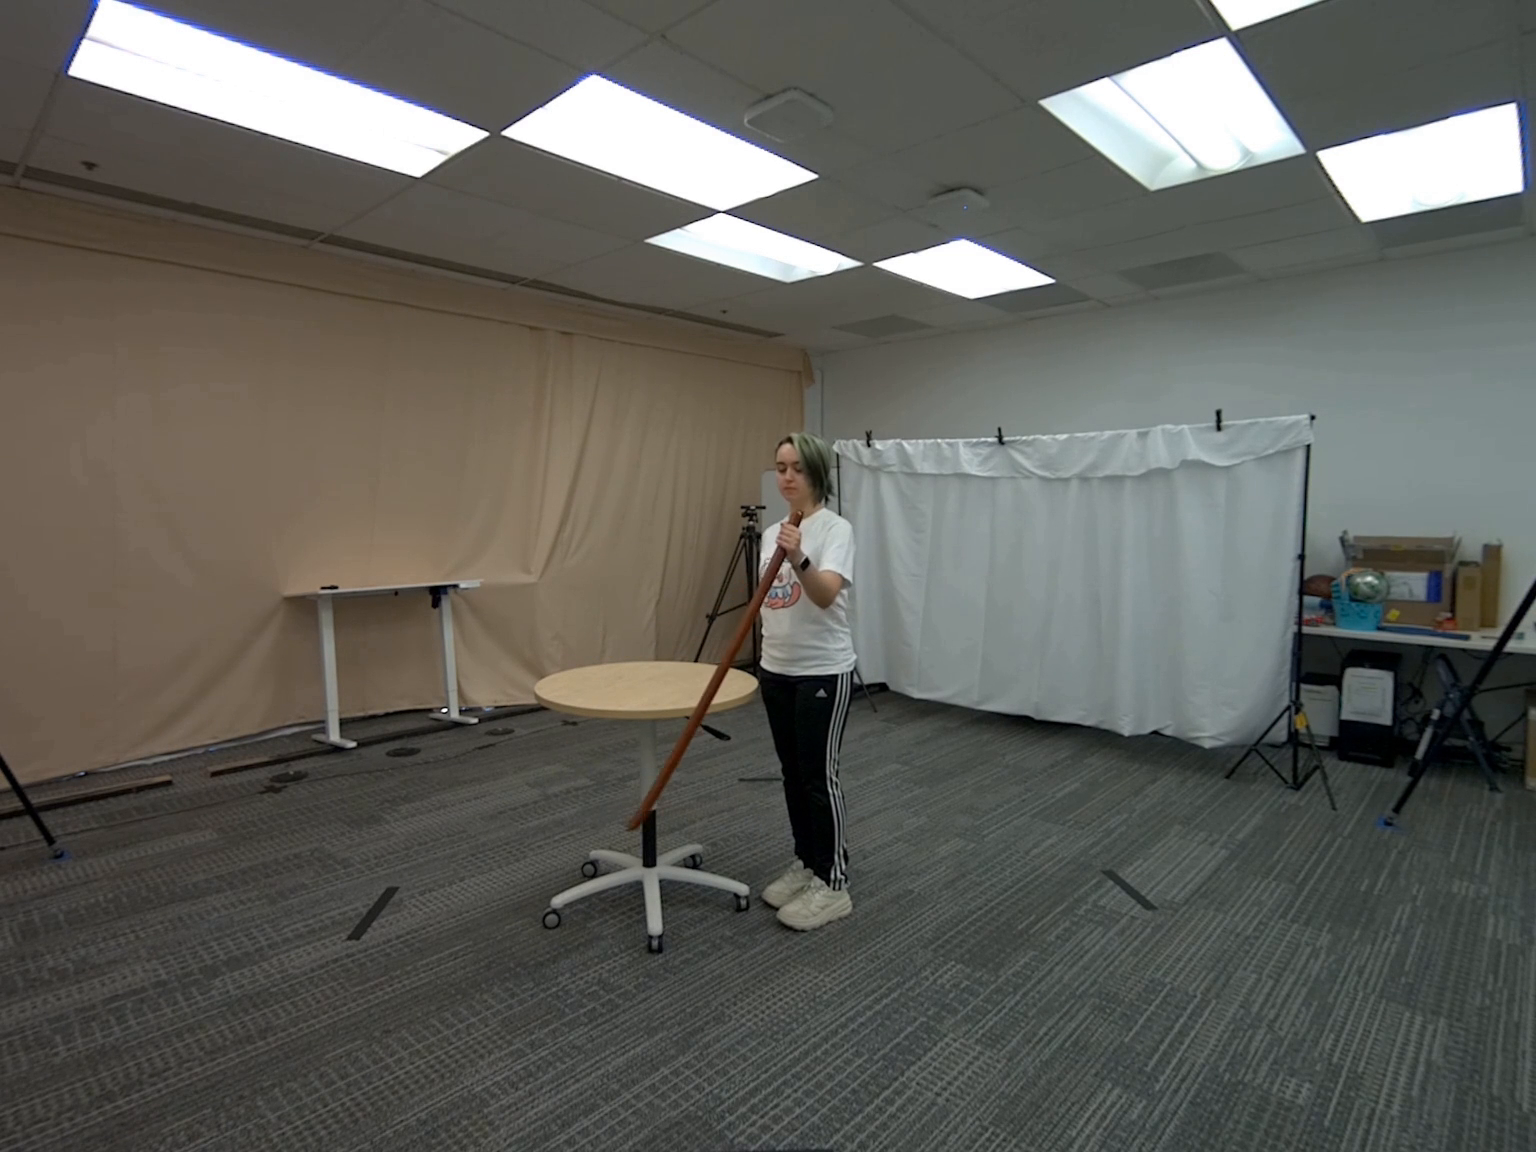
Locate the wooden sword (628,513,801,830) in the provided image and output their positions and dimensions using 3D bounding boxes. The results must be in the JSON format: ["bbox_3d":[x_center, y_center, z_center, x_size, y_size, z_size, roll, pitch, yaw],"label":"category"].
[{"bbox_3d":[-0.138,0.271,2.394,0.053,1.025,0.023,20,-14,28],"label":"wooden sword"}]
